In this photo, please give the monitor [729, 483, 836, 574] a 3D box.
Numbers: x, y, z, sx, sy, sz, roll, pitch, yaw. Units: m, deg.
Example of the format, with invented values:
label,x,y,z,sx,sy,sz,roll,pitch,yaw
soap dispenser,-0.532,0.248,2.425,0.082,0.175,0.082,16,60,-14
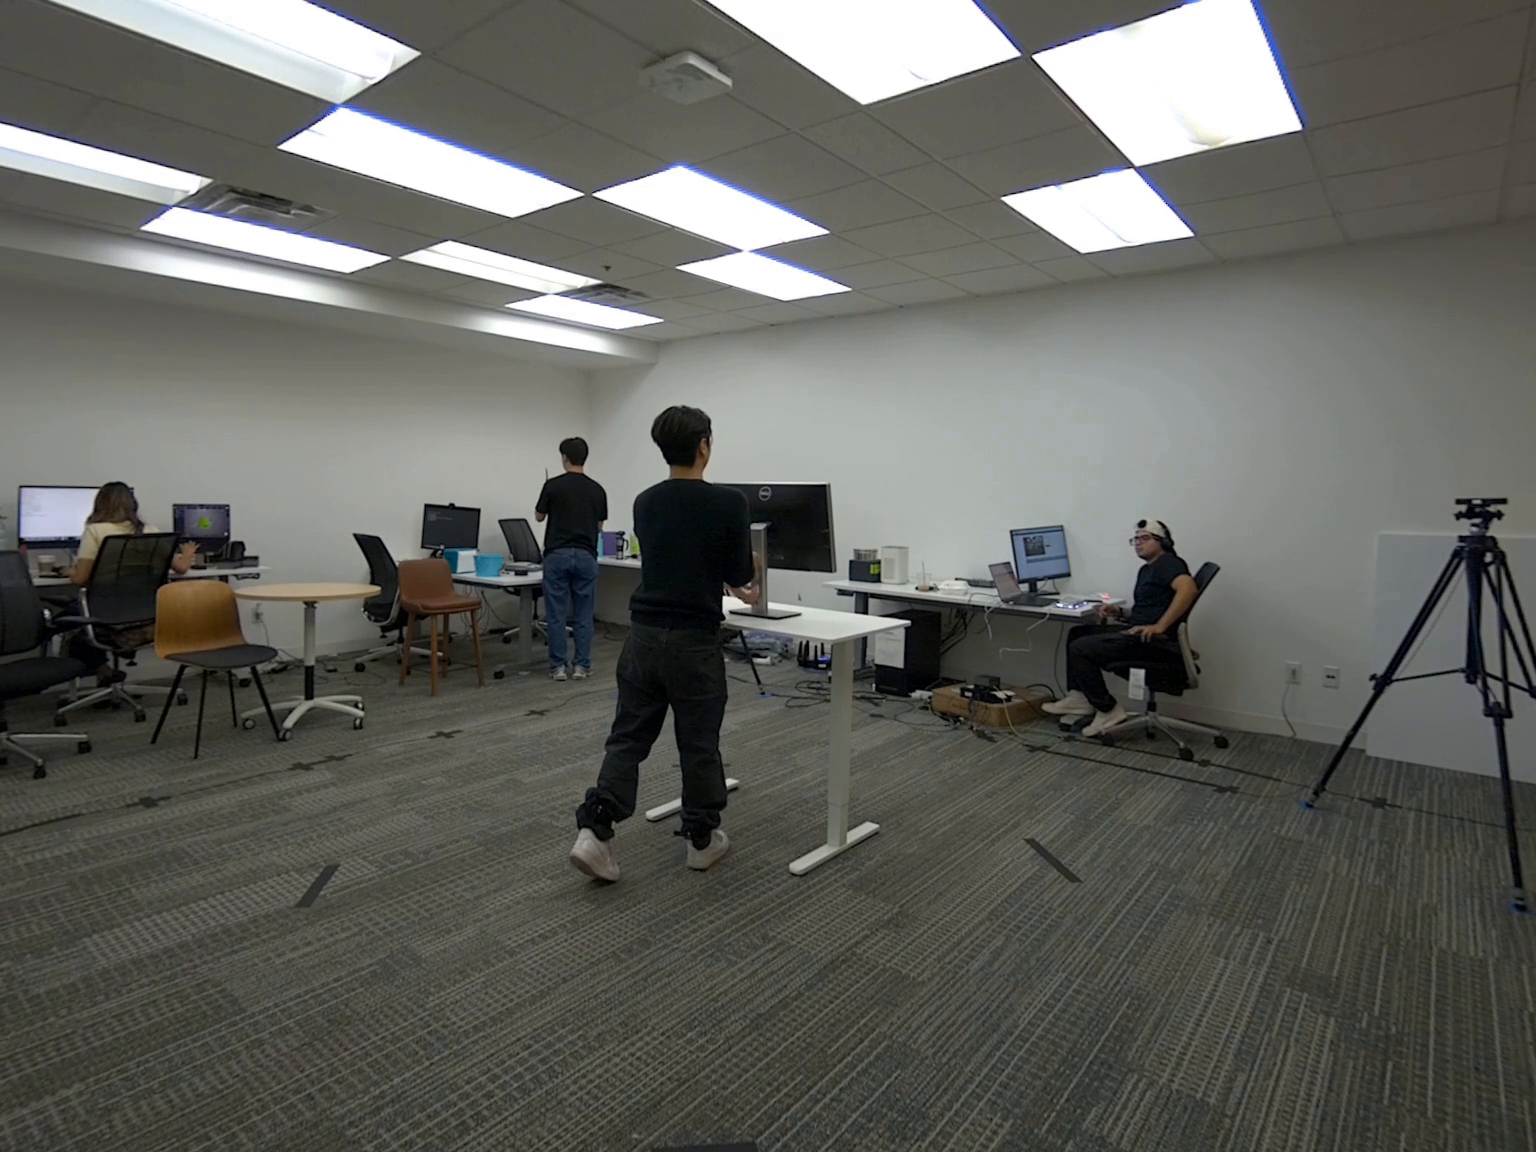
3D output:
label,x,y,z,sx,sy,sz,roll,pitch,yaw
monitor,-0.014,-0.113,3.473,0.556,0.521,0.182,4,3,32
